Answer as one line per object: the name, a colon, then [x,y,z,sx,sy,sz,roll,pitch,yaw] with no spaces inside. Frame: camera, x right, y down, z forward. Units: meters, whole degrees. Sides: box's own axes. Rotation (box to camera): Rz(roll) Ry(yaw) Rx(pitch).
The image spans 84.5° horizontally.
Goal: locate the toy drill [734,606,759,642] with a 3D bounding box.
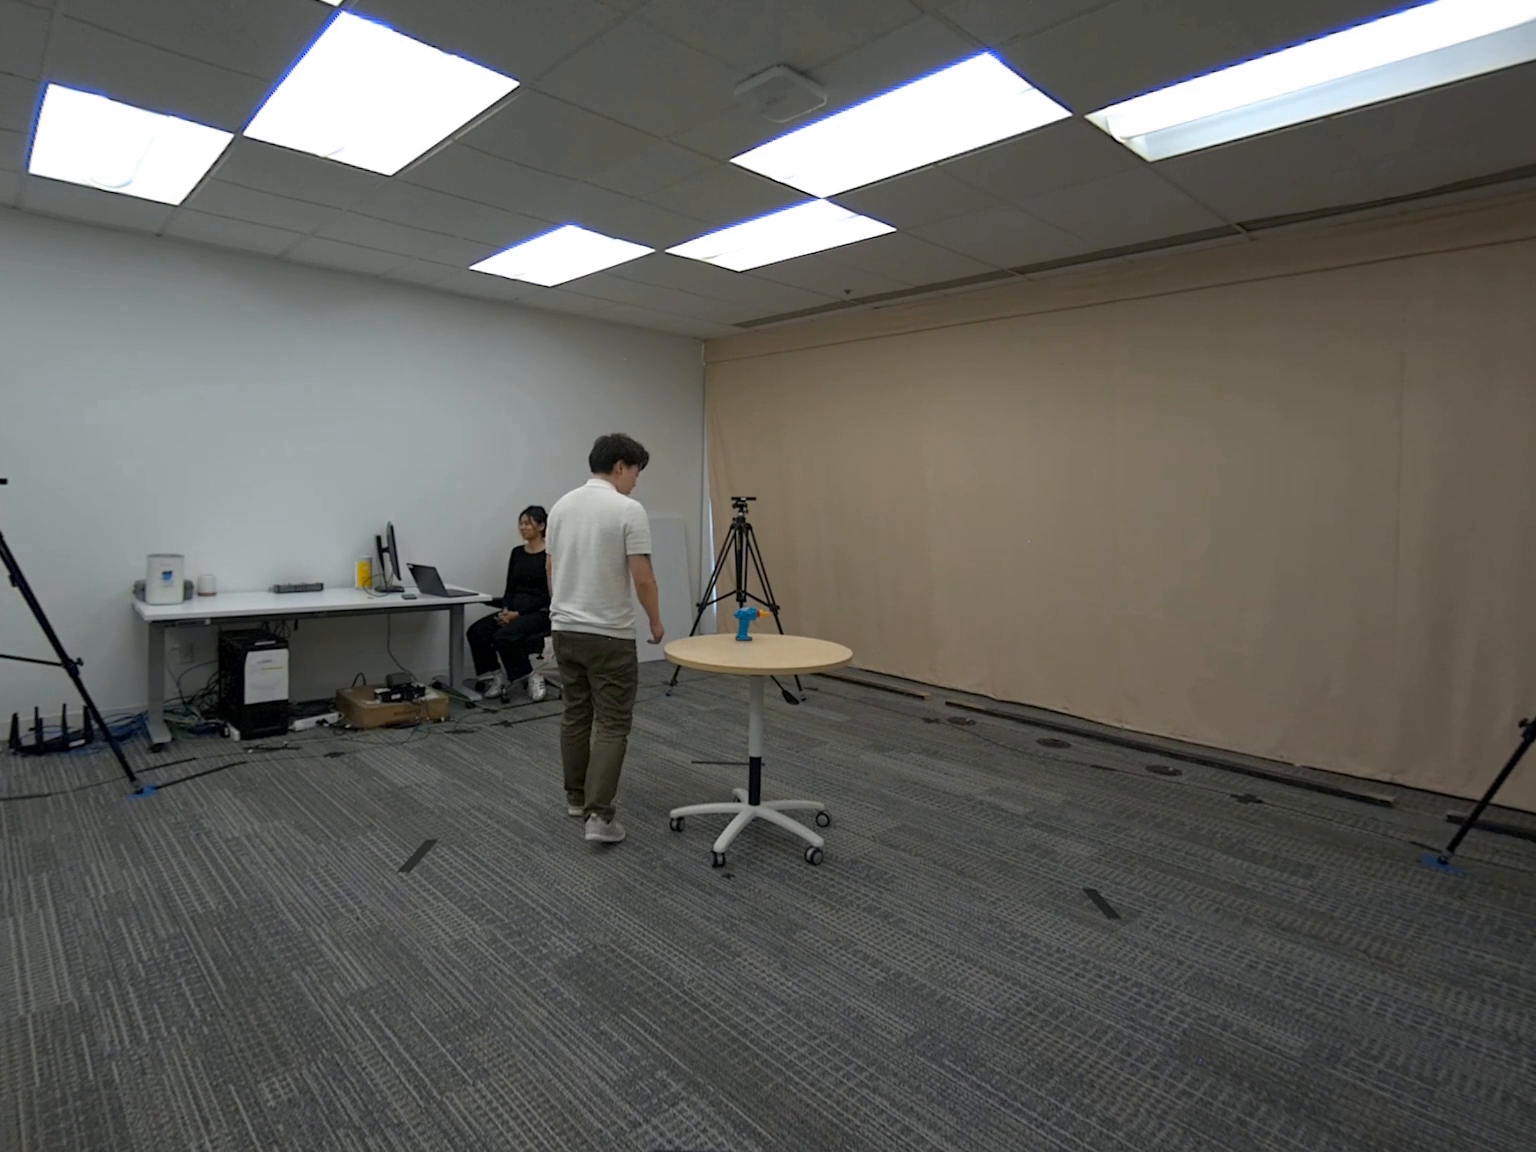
toy drill: [-0.084,0.204,3.635,0.167,0.145,0.062,-1,6,-23]
